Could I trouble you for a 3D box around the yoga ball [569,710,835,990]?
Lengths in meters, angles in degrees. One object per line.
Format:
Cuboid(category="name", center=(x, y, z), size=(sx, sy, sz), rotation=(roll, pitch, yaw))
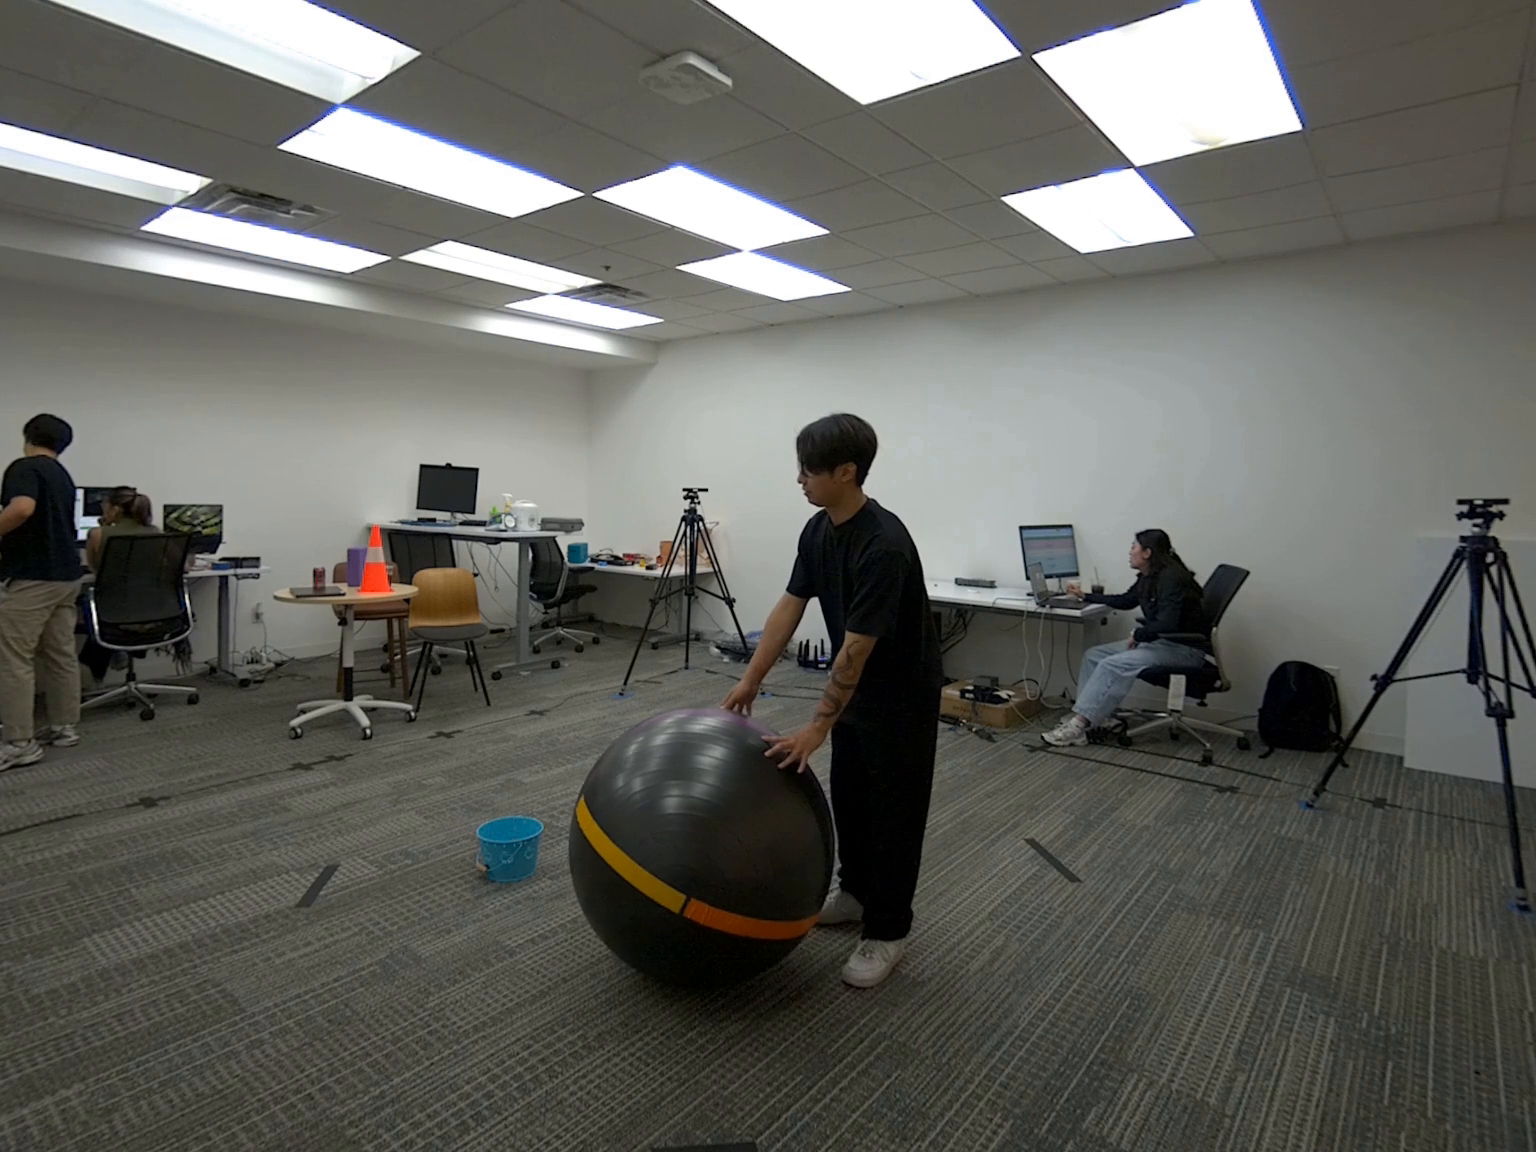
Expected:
Cuboid(category="yoga ball", center=(-0.204, 0.770, 2.455), size=(0.757, 0.755, 0.762), rotation=(1, 4, -2))
